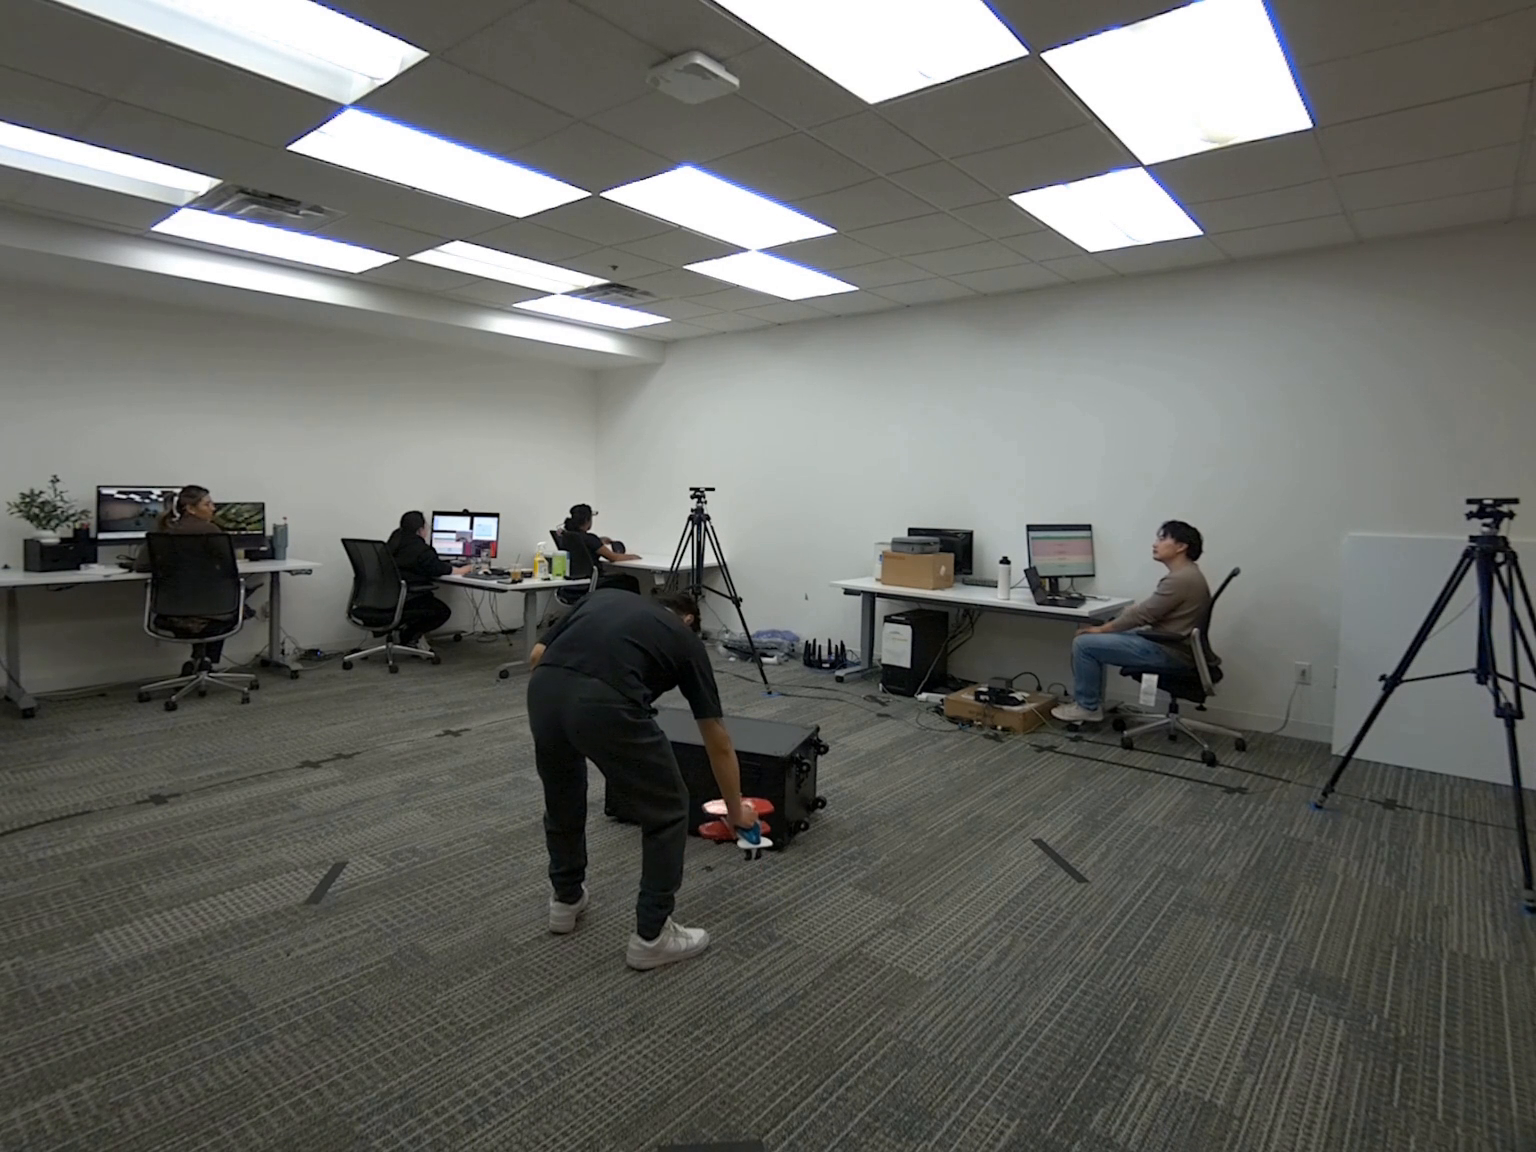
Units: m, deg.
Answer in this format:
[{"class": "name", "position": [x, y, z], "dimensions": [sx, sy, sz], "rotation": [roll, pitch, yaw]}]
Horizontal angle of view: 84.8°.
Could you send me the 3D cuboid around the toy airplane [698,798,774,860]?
[{"class": "toy airplane", "position": [-0.088, 0.841, 2.860], "dimensions": [0.267, 0.157, 0.243], "rotation": [1, -1, 37]}]
